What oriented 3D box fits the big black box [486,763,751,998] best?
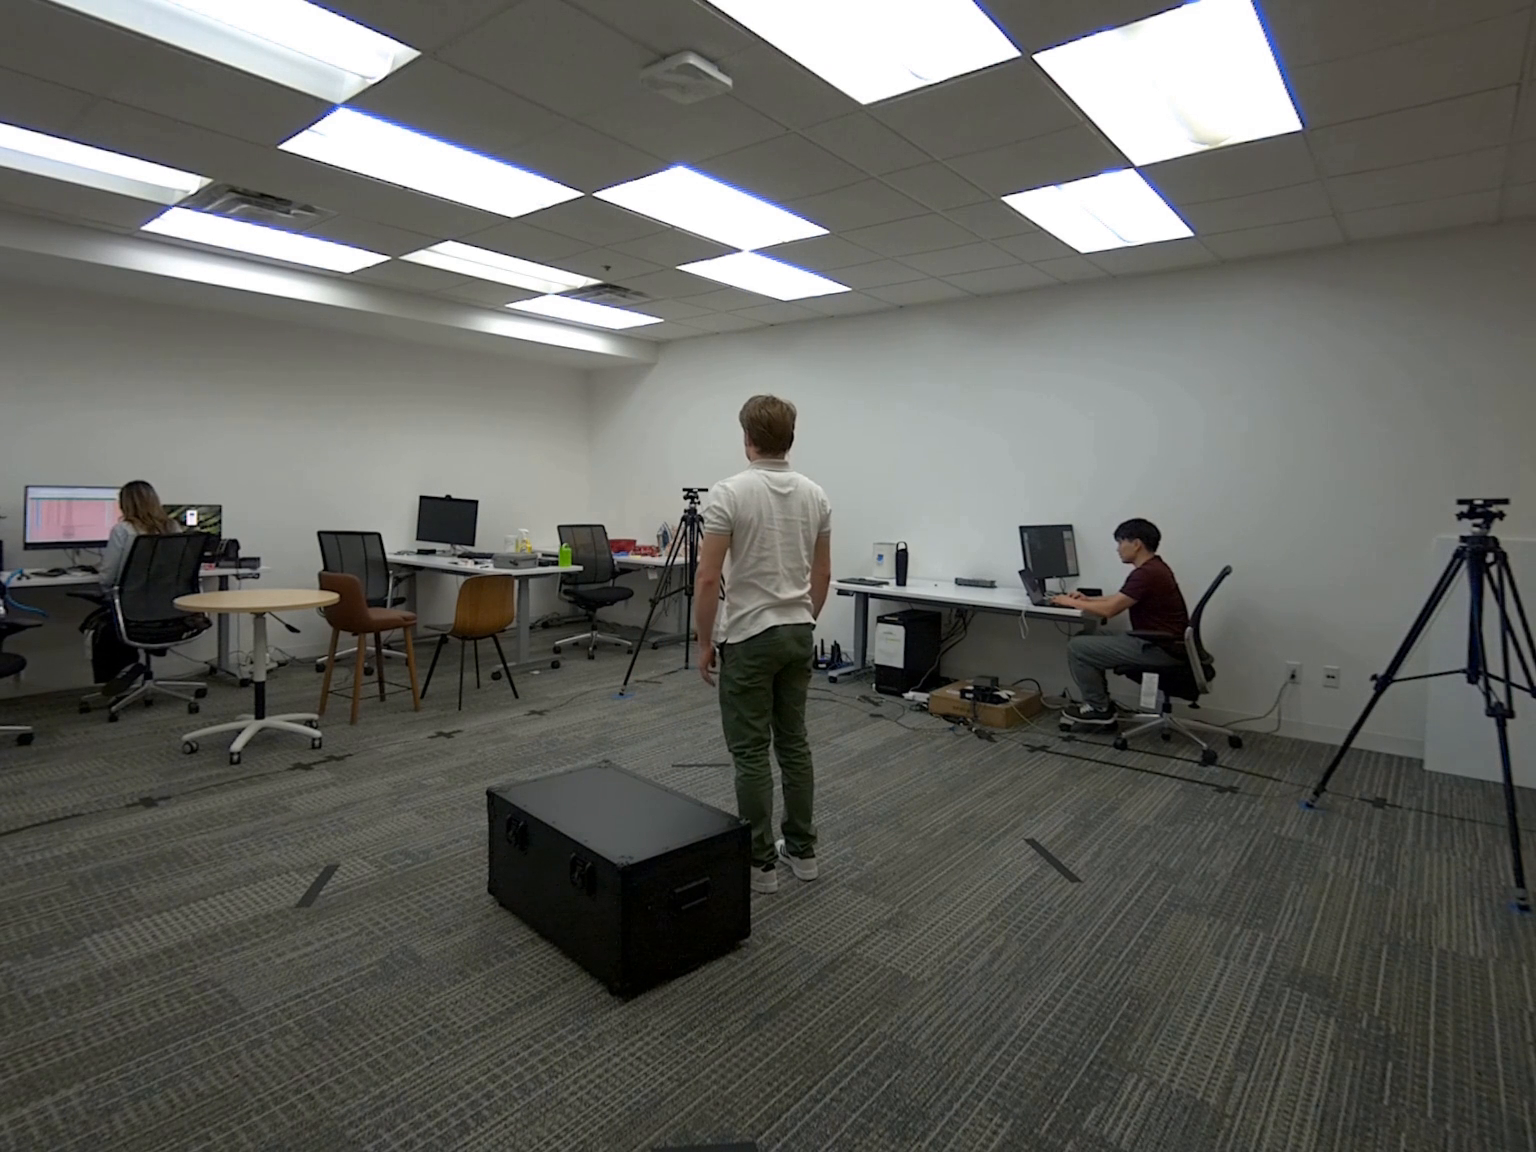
[{"bbox_3d":[-0.525,0.904,2.743,0.508,0.383,0.898,-5,8,-42],"label":"big black box"}]
